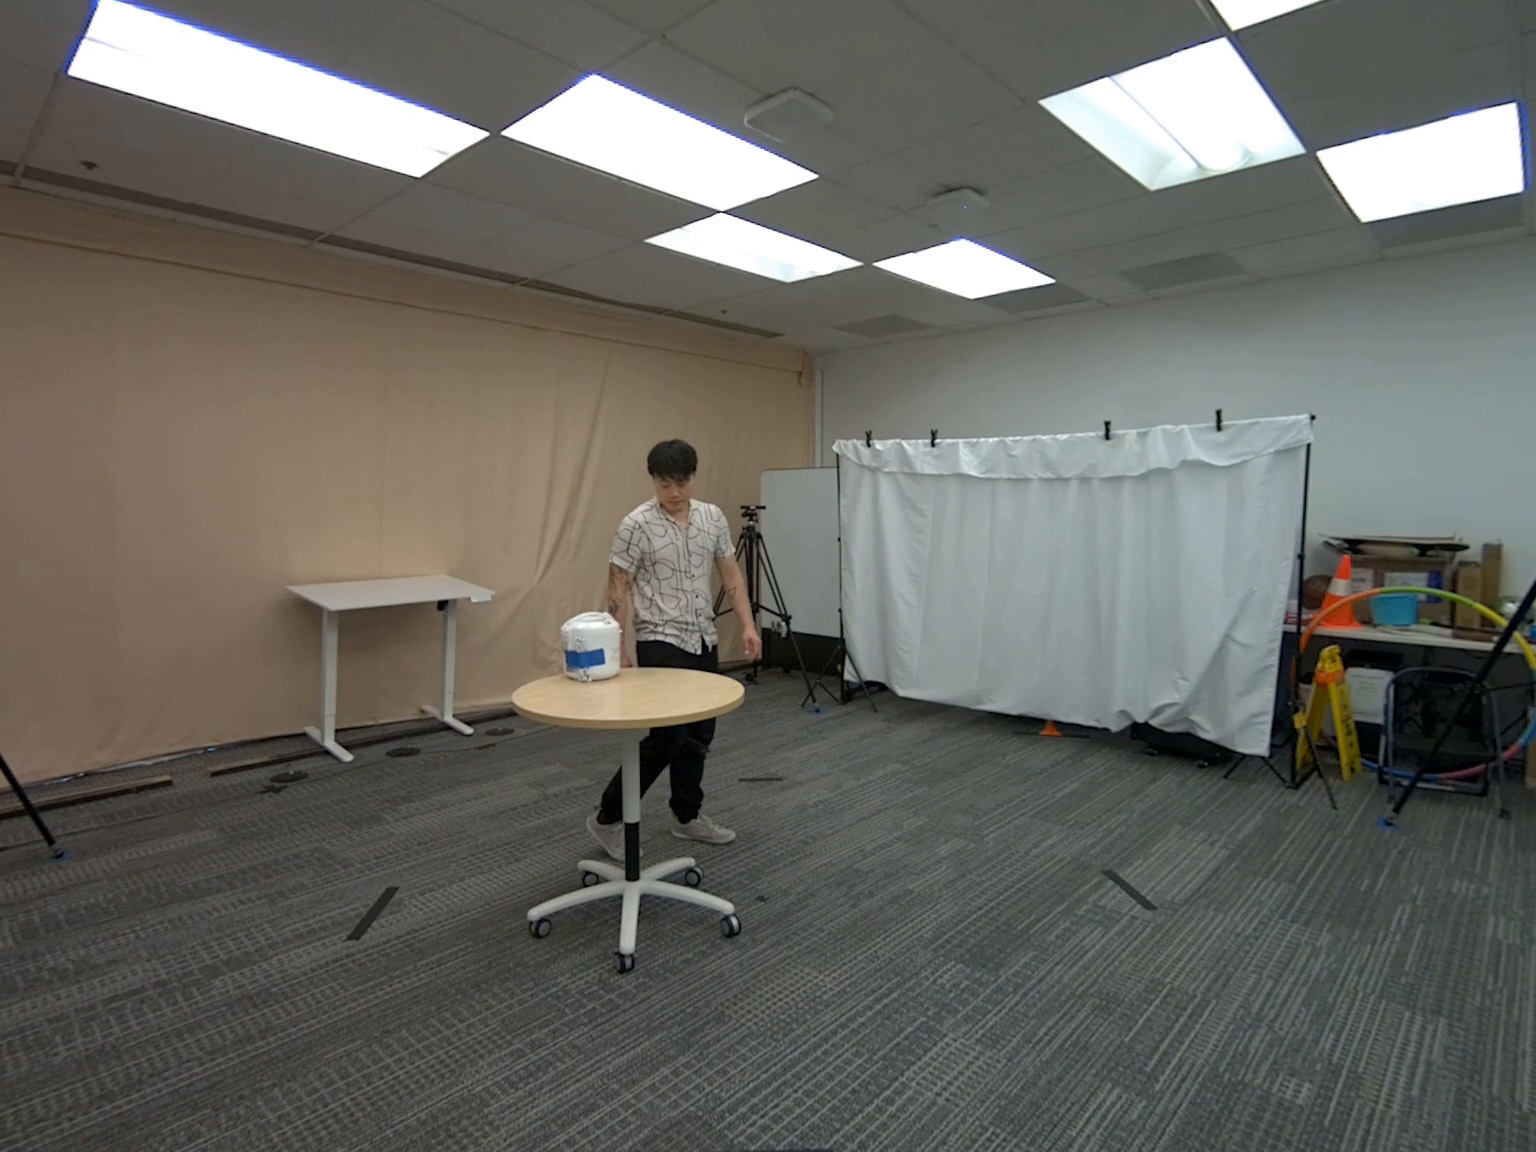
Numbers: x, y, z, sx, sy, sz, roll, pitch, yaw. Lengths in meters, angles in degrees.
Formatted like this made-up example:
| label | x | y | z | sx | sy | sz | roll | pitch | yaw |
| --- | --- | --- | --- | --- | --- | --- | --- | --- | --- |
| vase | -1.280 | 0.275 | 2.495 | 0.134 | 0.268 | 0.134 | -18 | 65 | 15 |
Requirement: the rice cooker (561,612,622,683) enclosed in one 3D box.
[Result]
| label | x | y | z | sx | sy | sz | roll | pitch | yaw |
| --- | --- | --- | --- | --- | --- | --- | --- | --- | --- |
| rice cooker | -0.637 | 0.245 | 3.028 | 0.214 | 0.232 | 0.224 | -2 | 5 | -37 |
